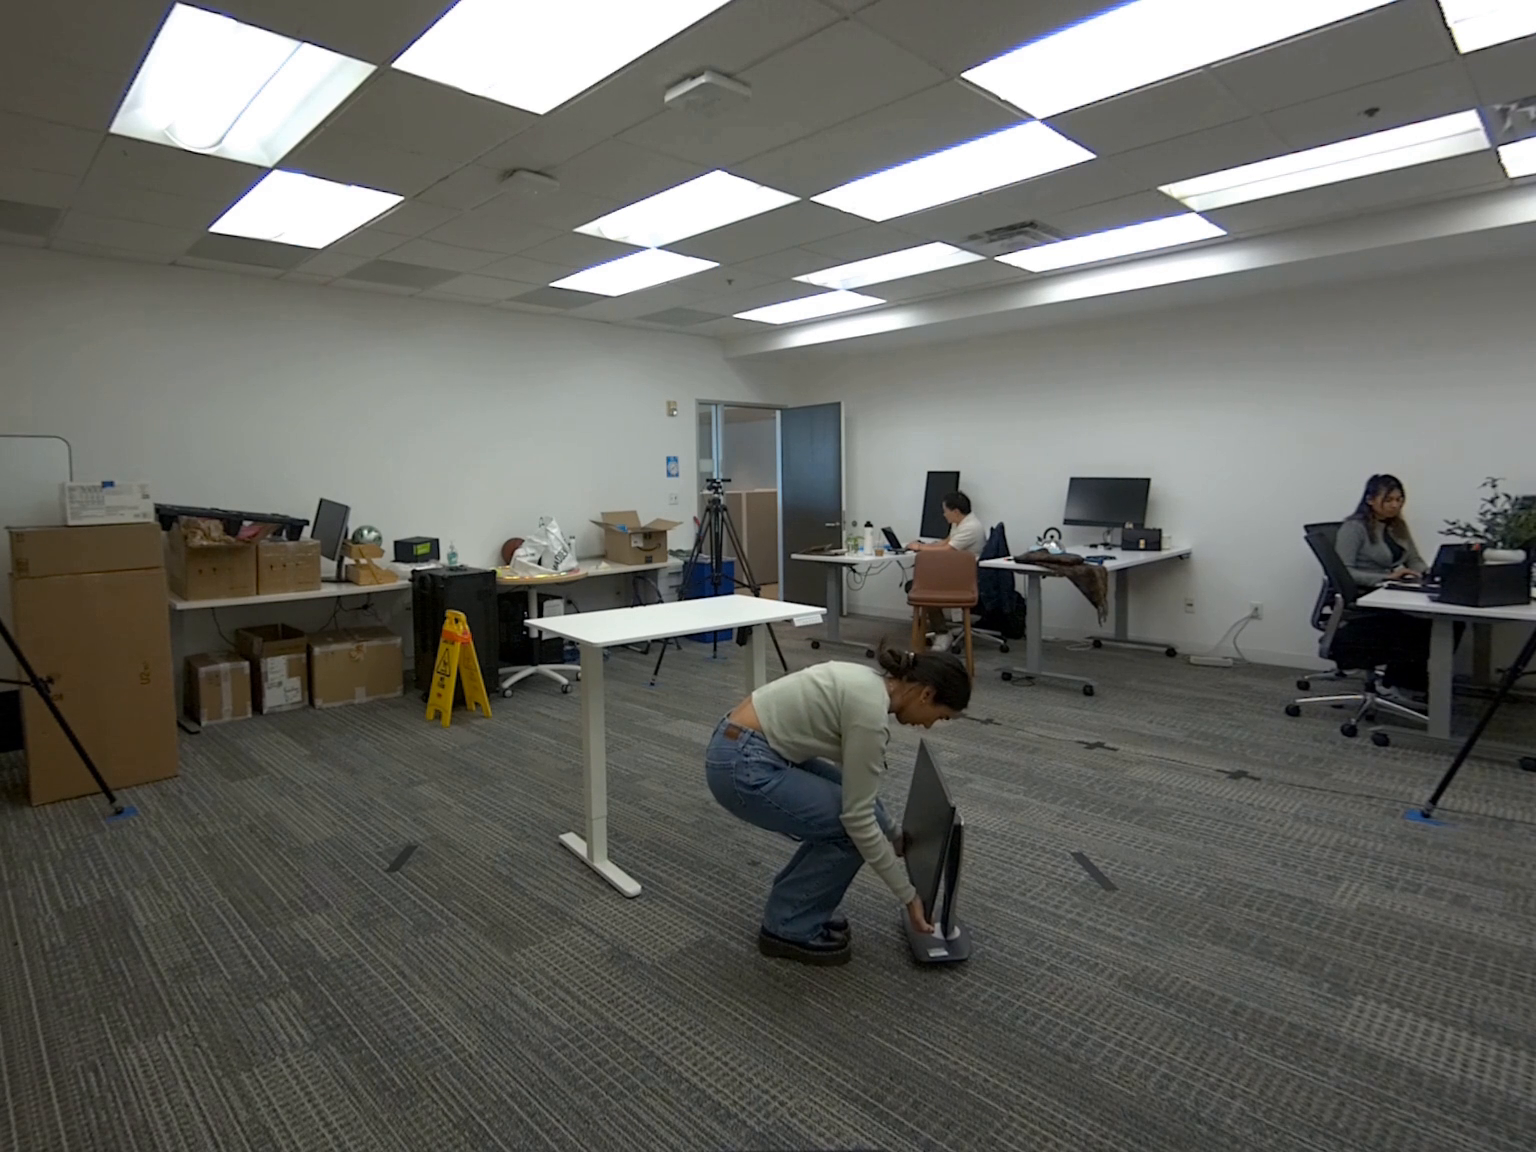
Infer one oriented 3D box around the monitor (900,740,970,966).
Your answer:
[{"bbox_3d":[0.494,0.827,2.517,0.187,0.520,0.541,-2,6,0],"label":"monitor"}]
